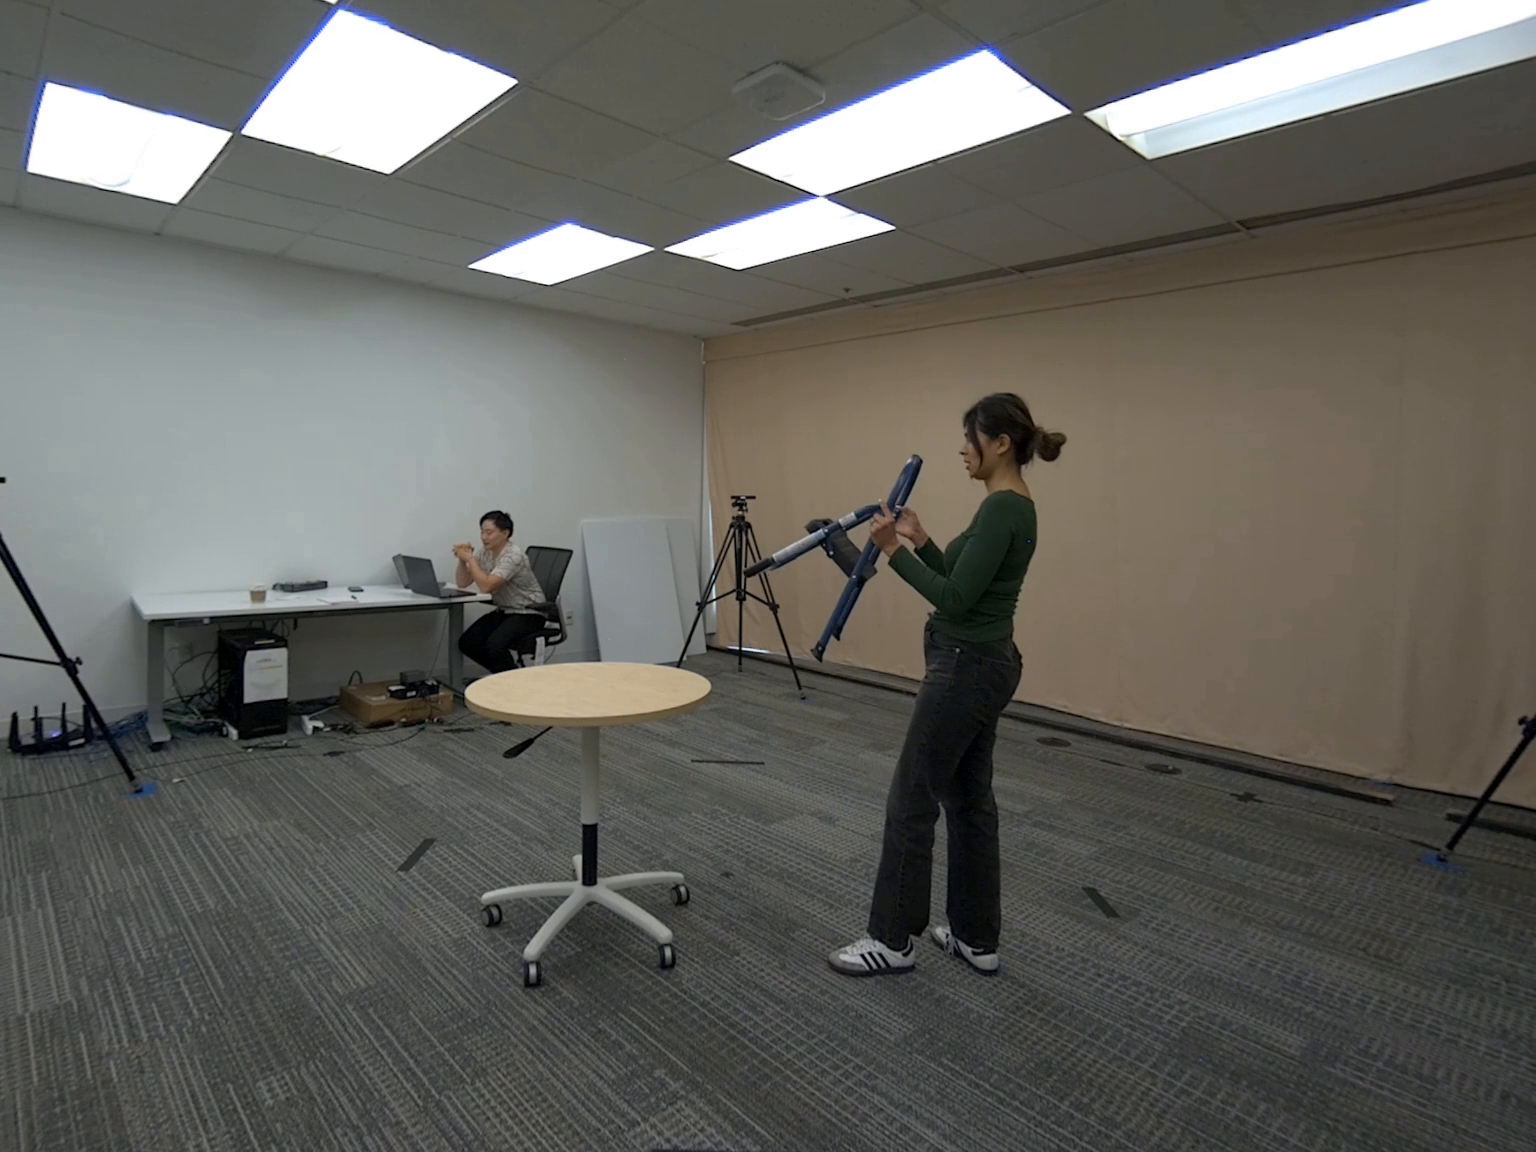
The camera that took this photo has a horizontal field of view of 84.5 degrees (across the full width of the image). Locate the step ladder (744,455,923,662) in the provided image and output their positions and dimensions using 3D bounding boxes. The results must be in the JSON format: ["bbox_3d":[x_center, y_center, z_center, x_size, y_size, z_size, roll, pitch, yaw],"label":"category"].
[{"bbox_3d":[0.284,-0.097,2.597,0.606,0.352,0.427,-43,-6,11],"label":"step ladder"}]
